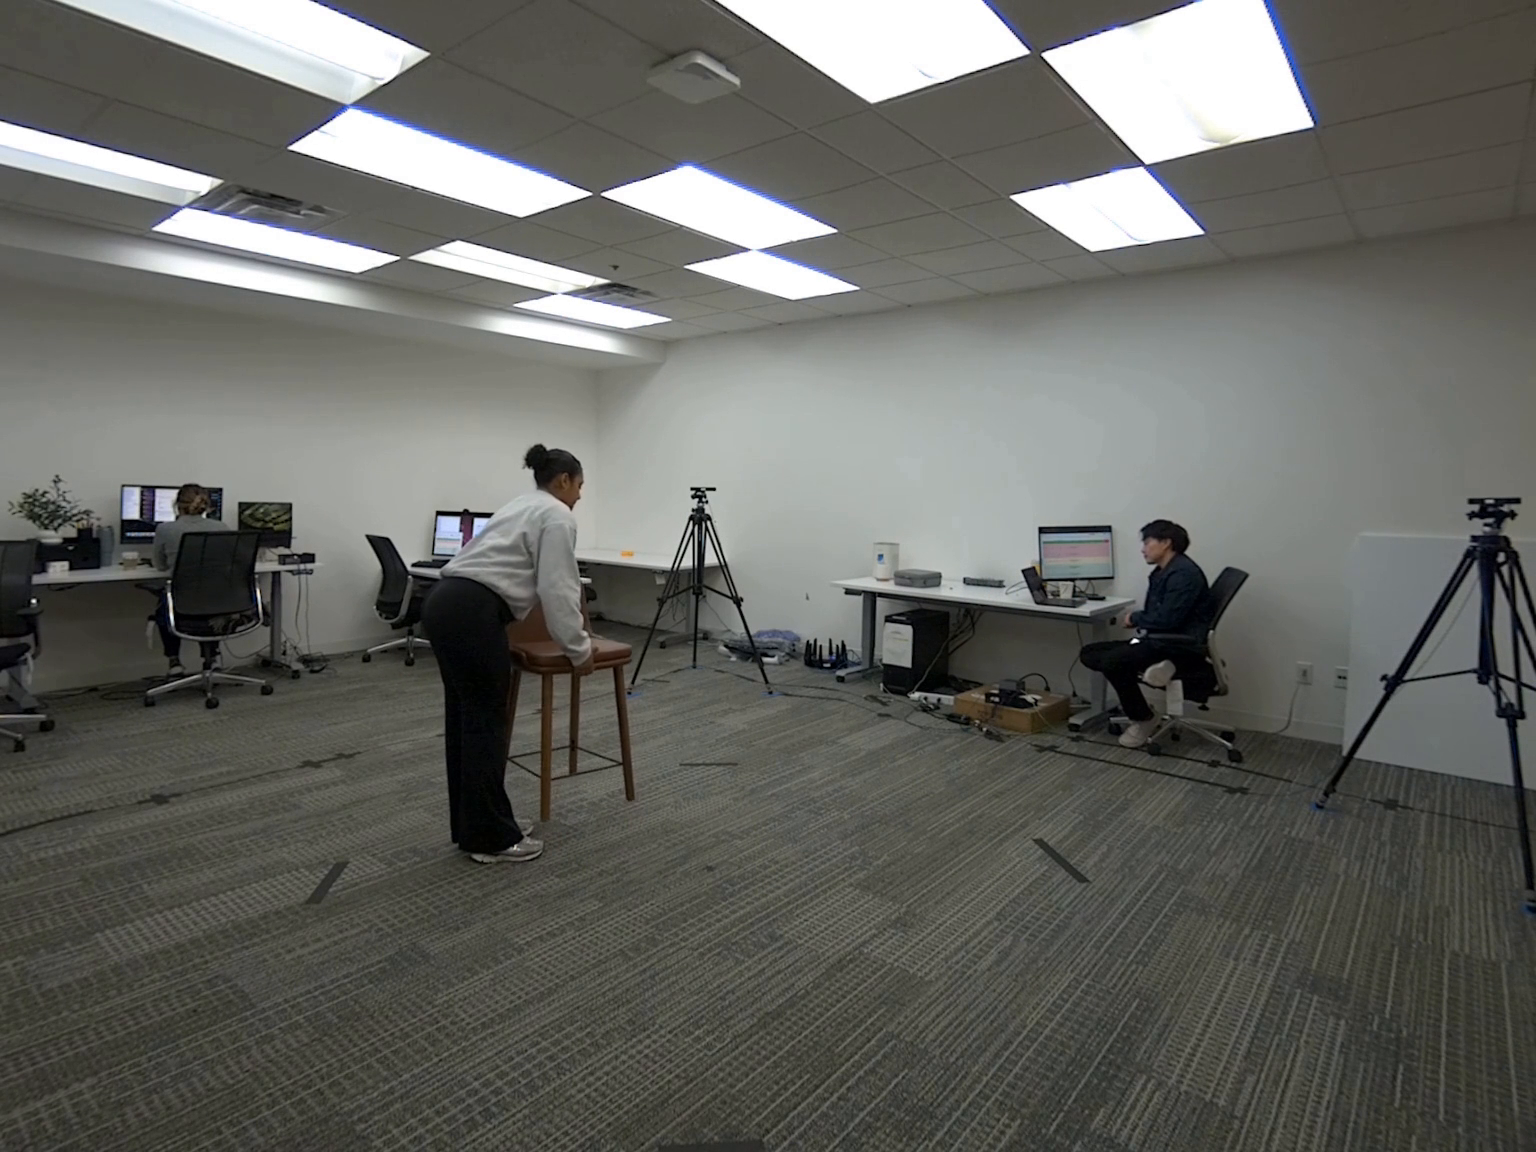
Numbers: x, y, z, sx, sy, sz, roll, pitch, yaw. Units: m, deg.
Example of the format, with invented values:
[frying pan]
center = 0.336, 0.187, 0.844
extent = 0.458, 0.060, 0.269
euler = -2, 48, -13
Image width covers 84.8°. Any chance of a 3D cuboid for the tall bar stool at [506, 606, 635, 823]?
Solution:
[tall bar stool]
center = -0.836, 0.457, 3.411
extent = 0.442, 0.890, 0.482
euler = 0, 1, -42
